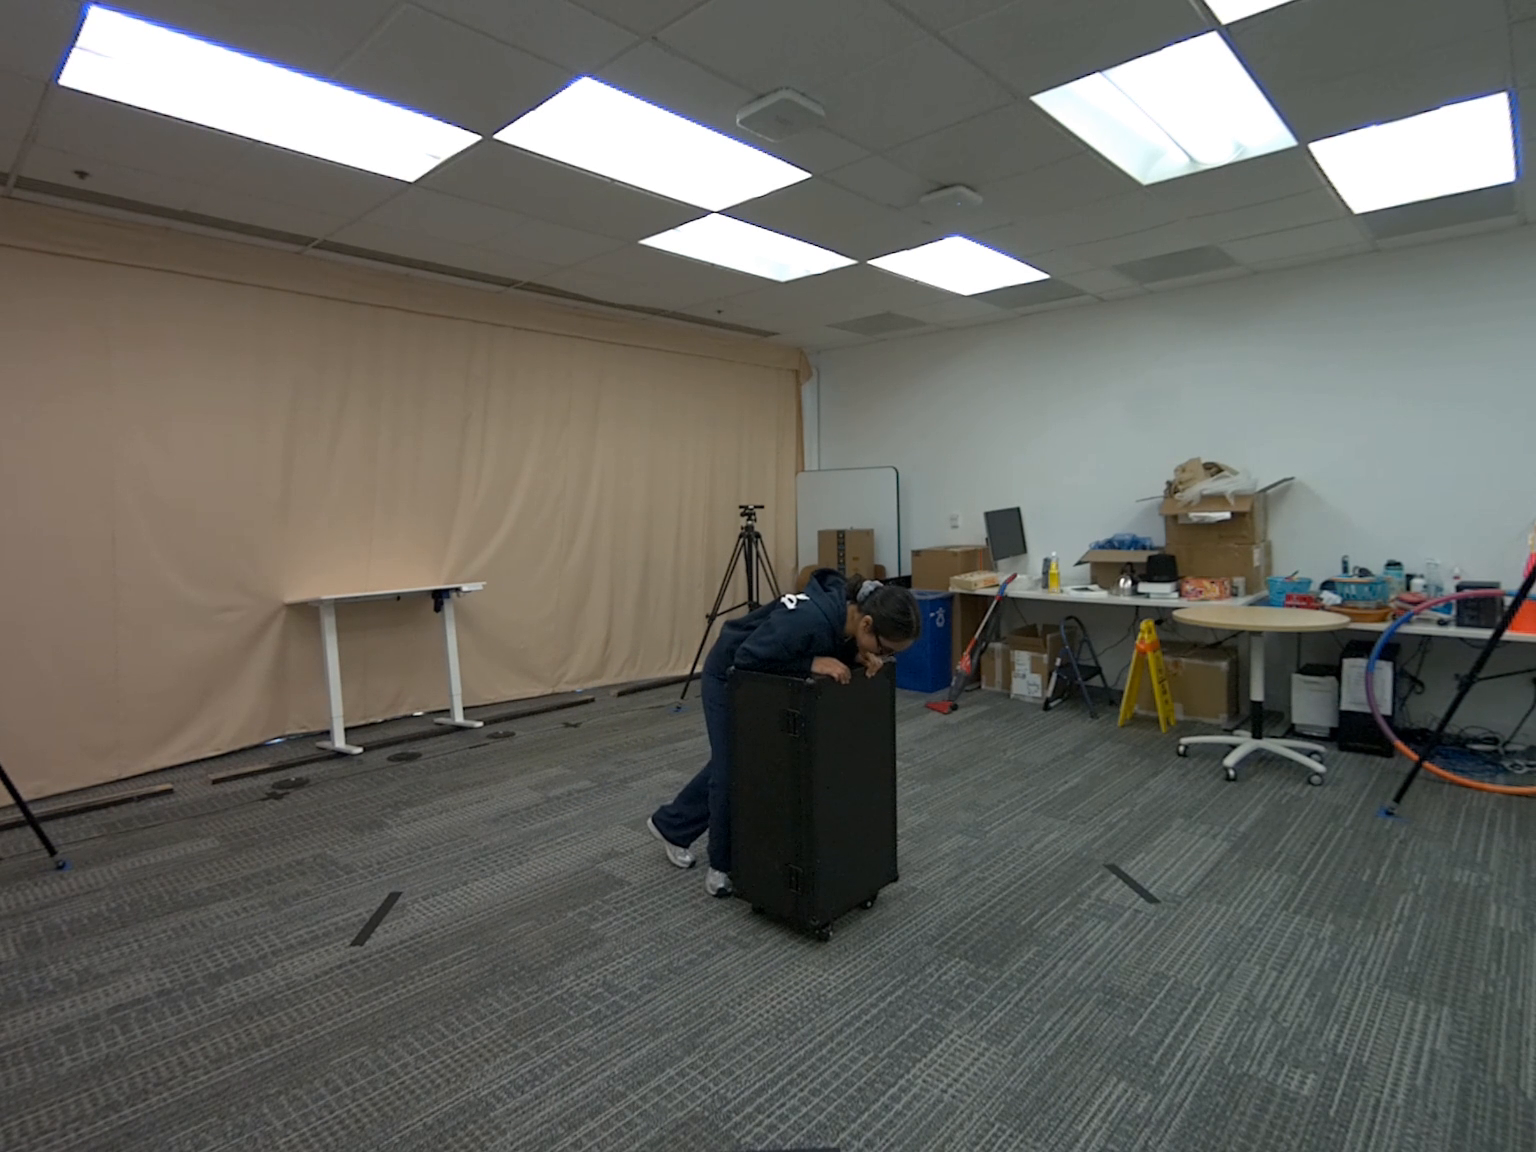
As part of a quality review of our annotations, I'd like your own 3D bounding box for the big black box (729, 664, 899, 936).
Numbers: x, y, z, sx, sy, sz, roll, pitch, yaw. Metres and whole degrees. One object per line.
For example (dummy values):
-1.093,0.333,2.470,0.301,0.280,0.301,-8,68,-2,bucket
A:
0.157,0.726,2.881,0.409,0.859,0.506,1,5,42,big black box
